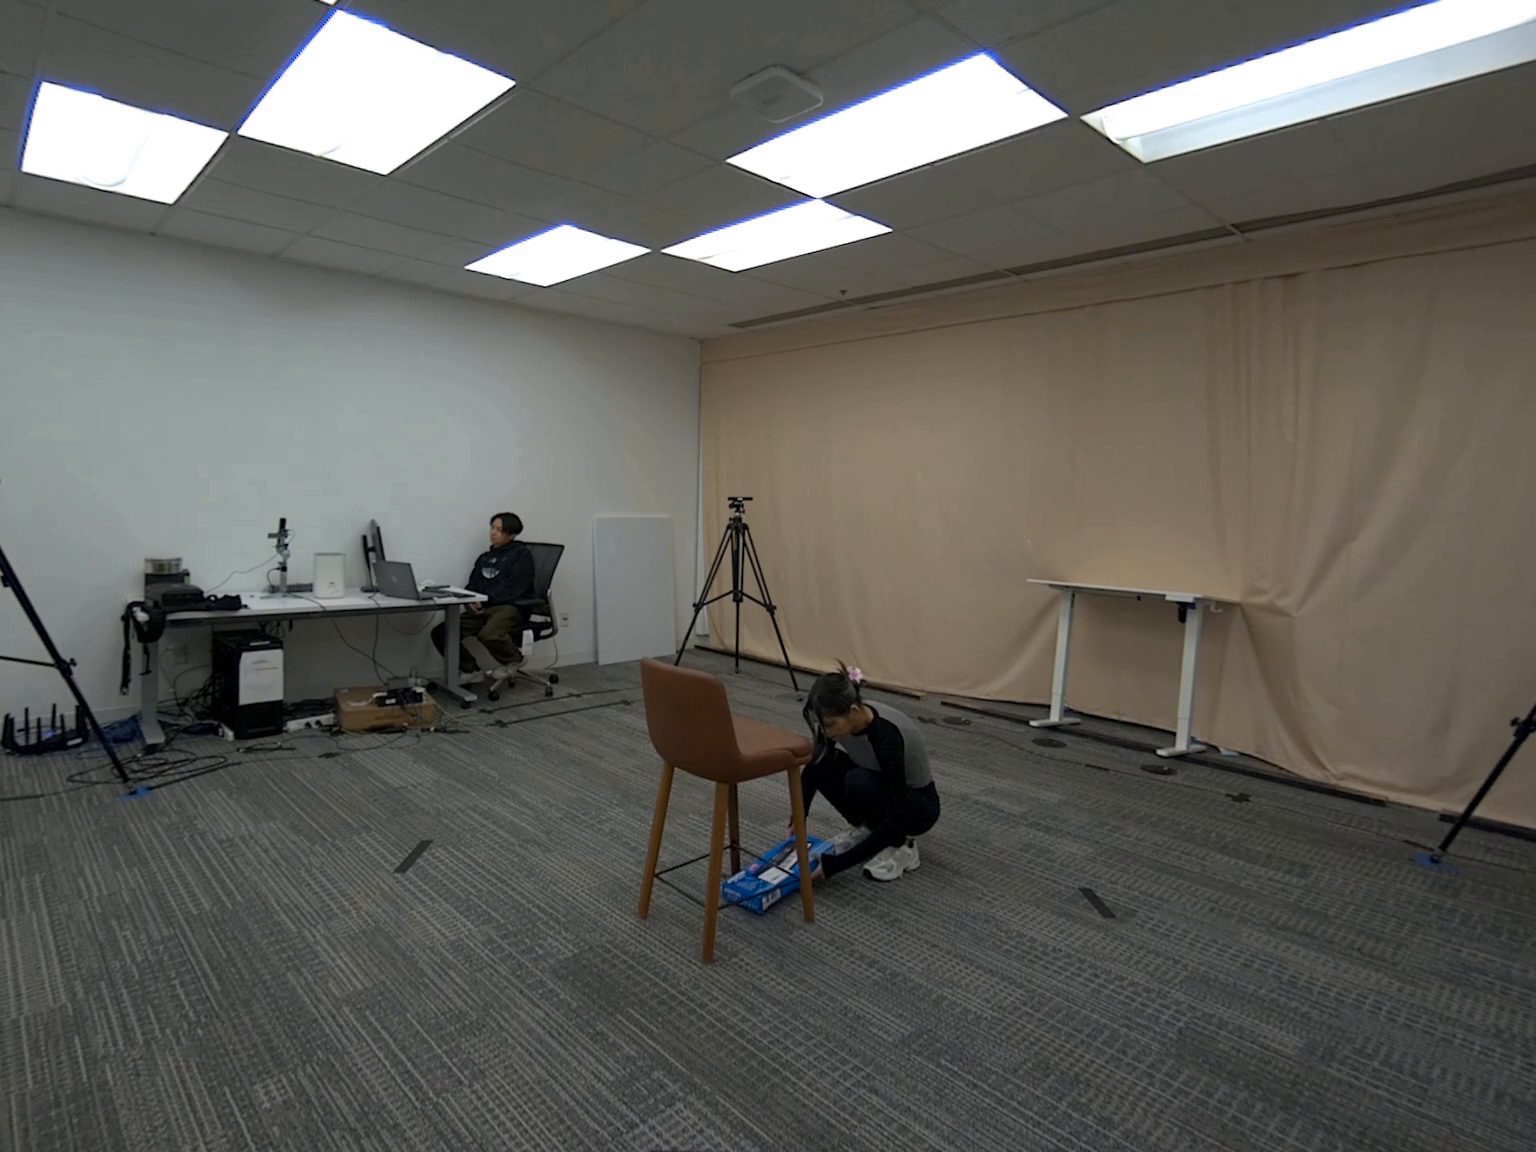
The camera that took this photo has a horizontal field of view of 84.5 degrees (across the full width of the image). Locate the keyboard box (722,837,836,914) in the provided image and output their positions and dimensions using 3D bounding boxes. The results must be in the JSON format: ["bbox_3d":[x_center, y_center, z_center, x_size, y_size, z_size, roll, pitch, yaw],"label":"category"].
[{"bbox_3d":[0.039,1.053,2.996,0.180,0.059,0.429,2,11,40],"label":"keyboard box"}]
